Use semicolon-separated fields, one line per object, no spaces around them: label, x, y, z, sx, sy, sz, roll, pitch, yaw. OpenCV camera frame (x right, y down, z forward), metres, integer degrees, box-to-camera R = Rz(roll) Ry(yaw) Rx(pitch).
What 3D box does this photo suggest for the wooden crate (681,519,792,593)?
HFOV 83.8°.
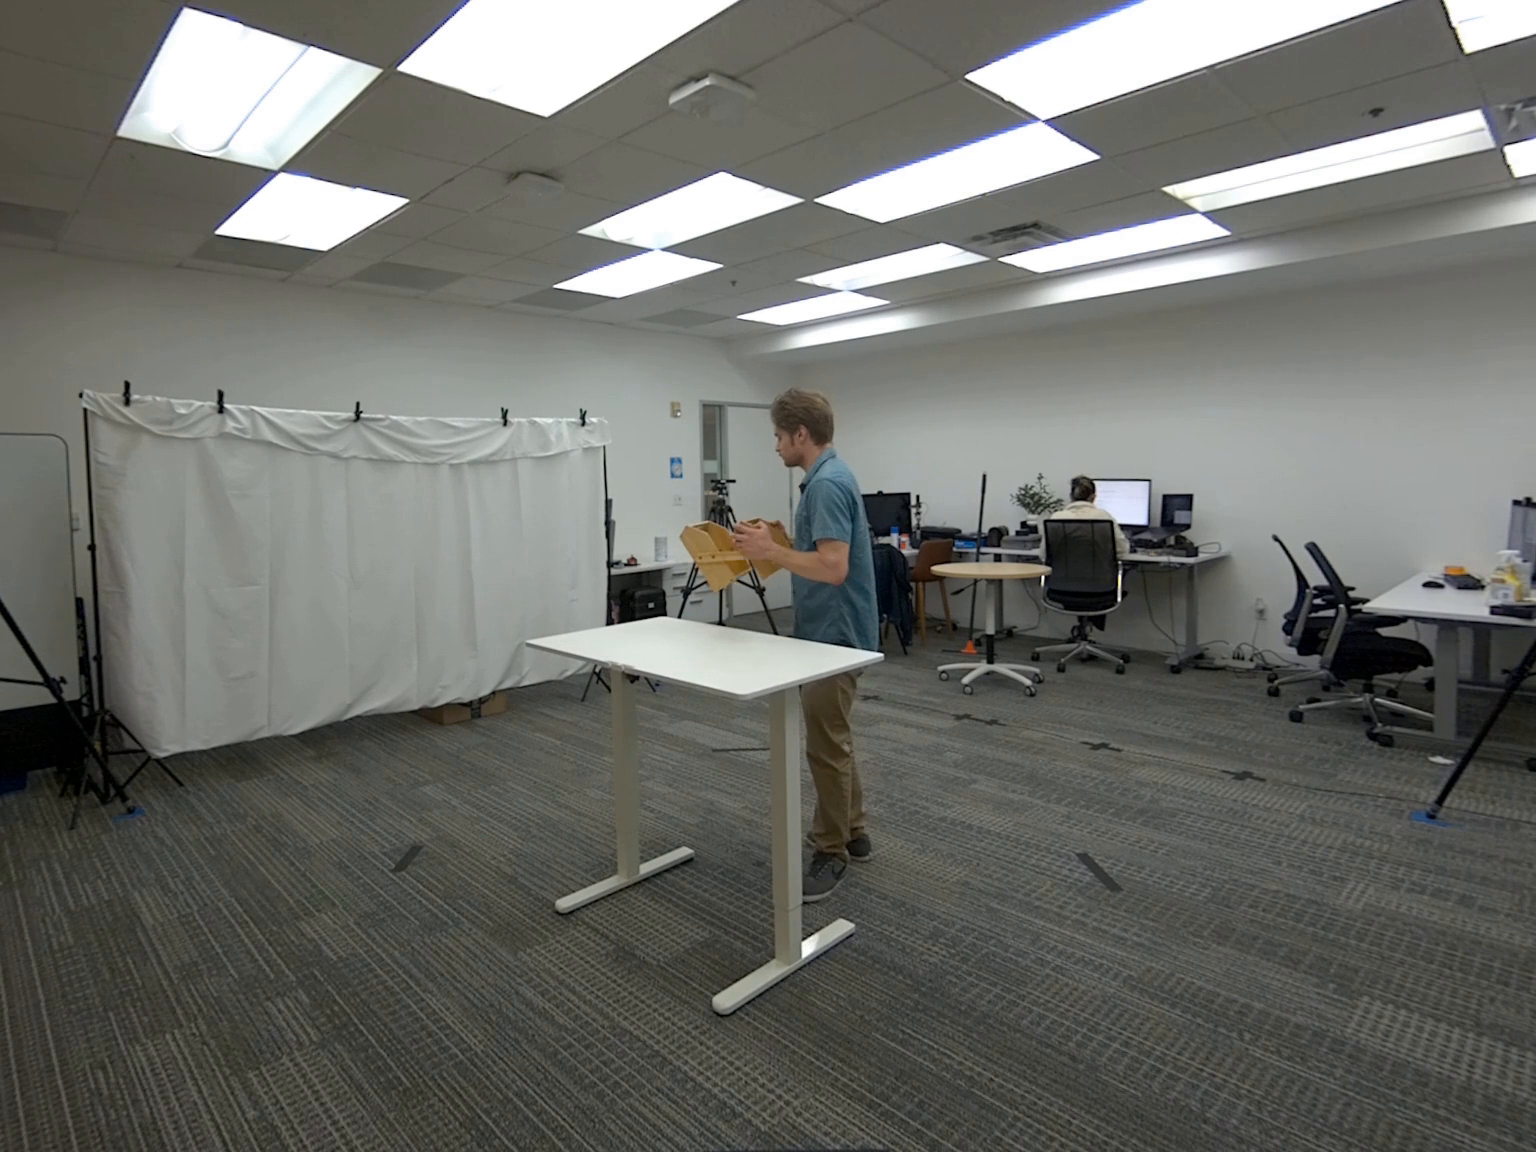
wooden crate;-0.095;-0.109;3.070;0.274;0.303;0.322;-33;-1;13
